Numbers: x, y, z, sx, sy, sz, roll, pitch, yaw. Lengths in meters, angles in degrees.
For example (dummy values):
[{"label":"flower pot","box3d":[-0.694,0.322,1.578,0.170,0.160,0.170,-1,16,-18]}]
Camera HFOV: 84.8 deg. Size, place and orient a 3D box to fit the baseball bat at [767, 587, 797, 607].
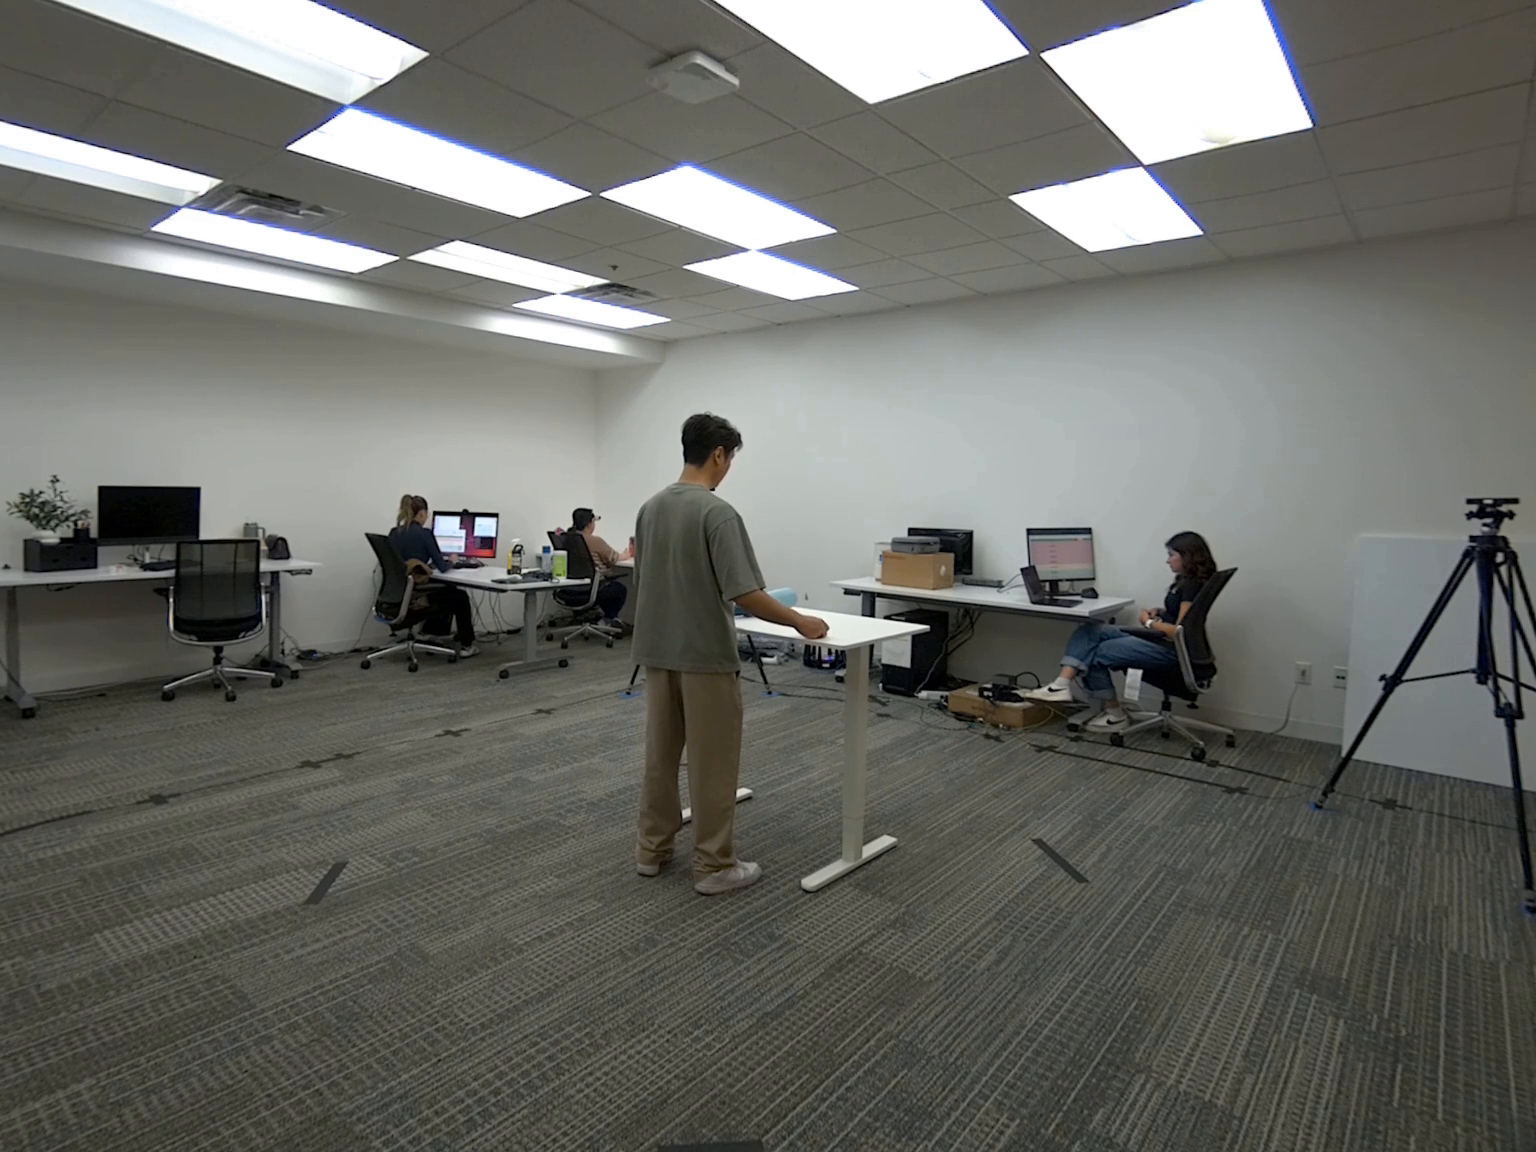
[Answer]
[{"label":"baseball bat","box3d":[-0.100,0.129,3.363,0.529,0.088,0.092,-13,13,-42]}]
